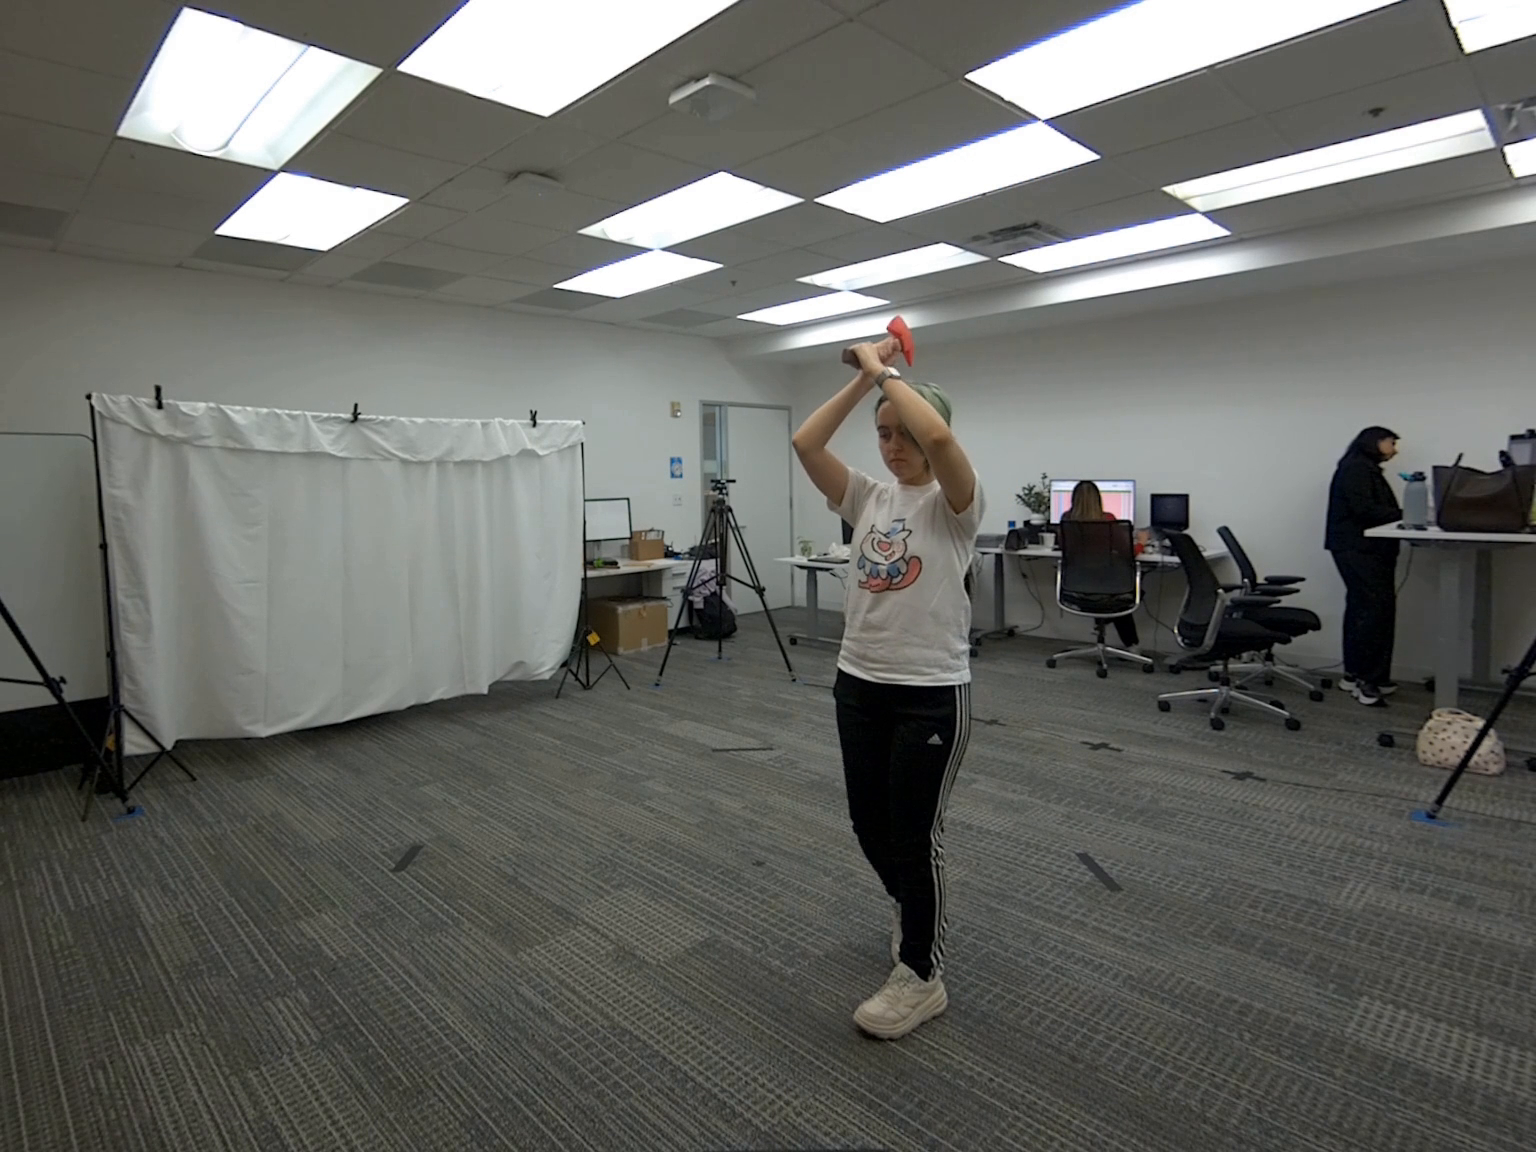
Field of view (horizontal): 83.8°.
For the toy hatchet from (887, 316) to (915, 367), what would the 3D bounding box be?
[{"bbox_3d":[0.280,-0.597,2.137,0.263,0.130,0.030,-10,10,-43],"label":"toy hatchet"}]
